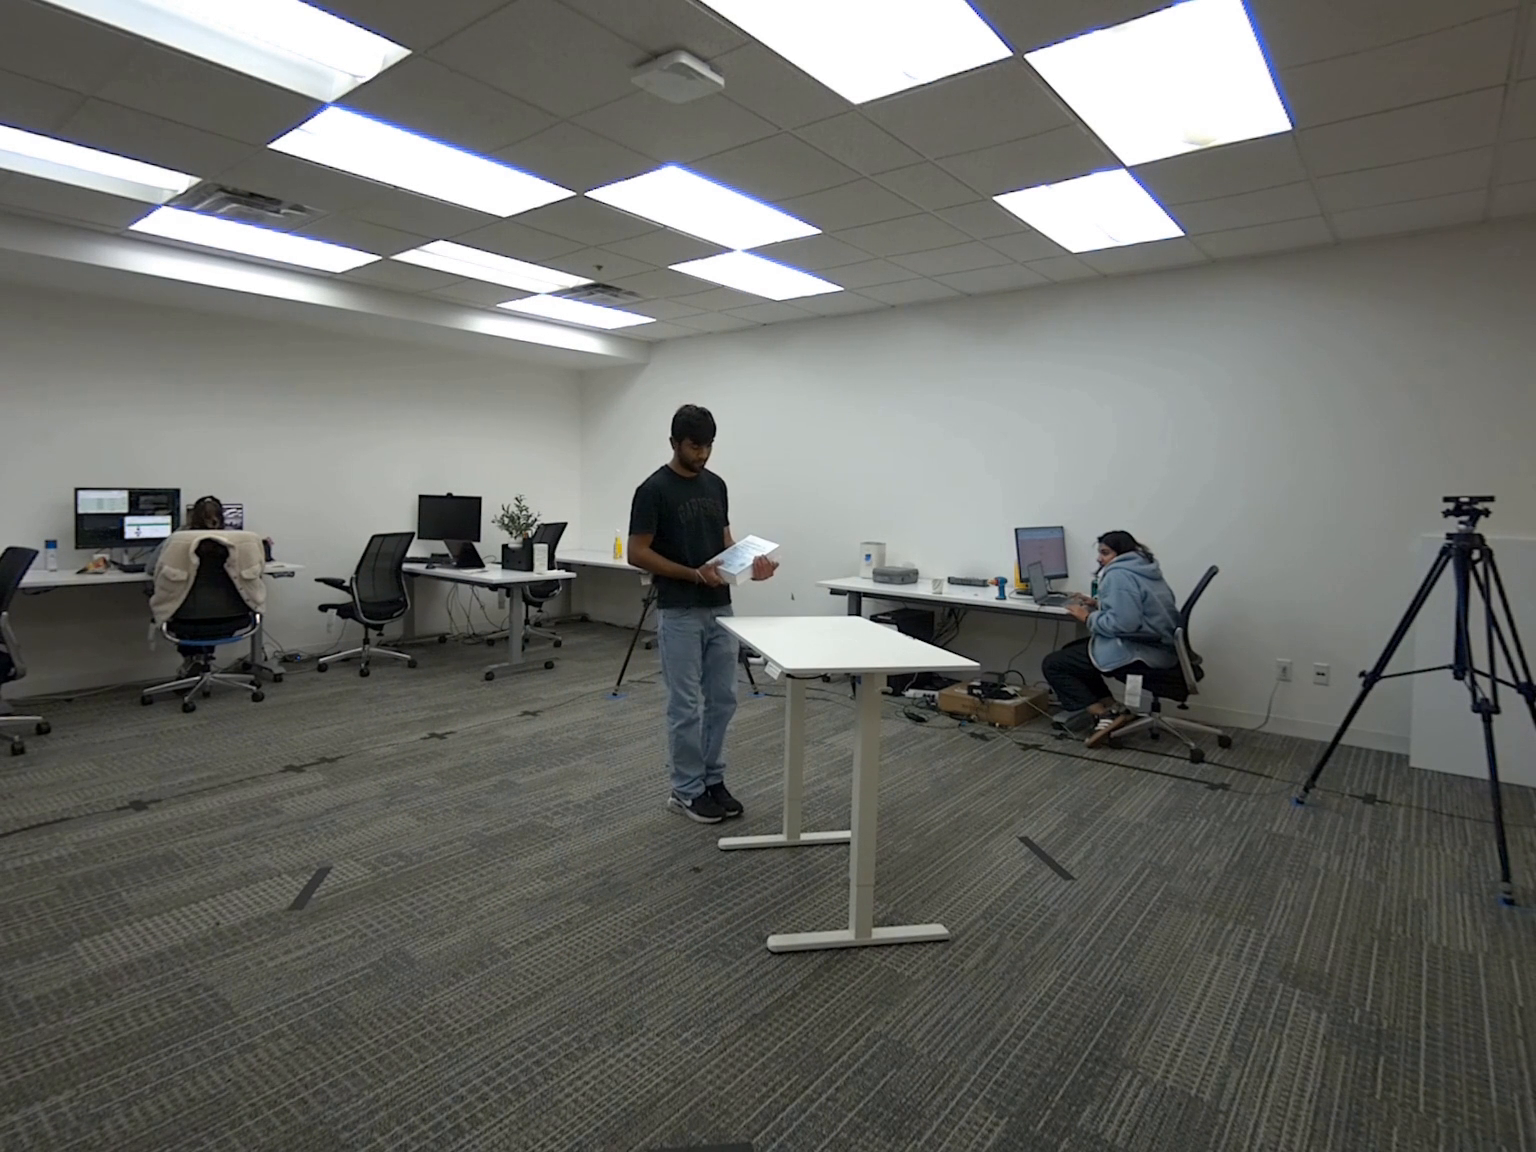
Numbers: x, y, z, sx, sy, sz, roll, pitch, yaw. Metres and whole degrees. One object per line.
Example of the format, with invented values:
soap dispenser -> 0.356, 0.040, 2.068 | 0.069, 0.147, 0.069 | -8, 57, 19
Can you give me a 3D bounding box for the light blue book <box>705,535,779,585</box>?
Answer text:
light blue book -> -0.100, -0.069, 3.536 | 0.258, 0.057, 0.199 | -33, 37, -32
